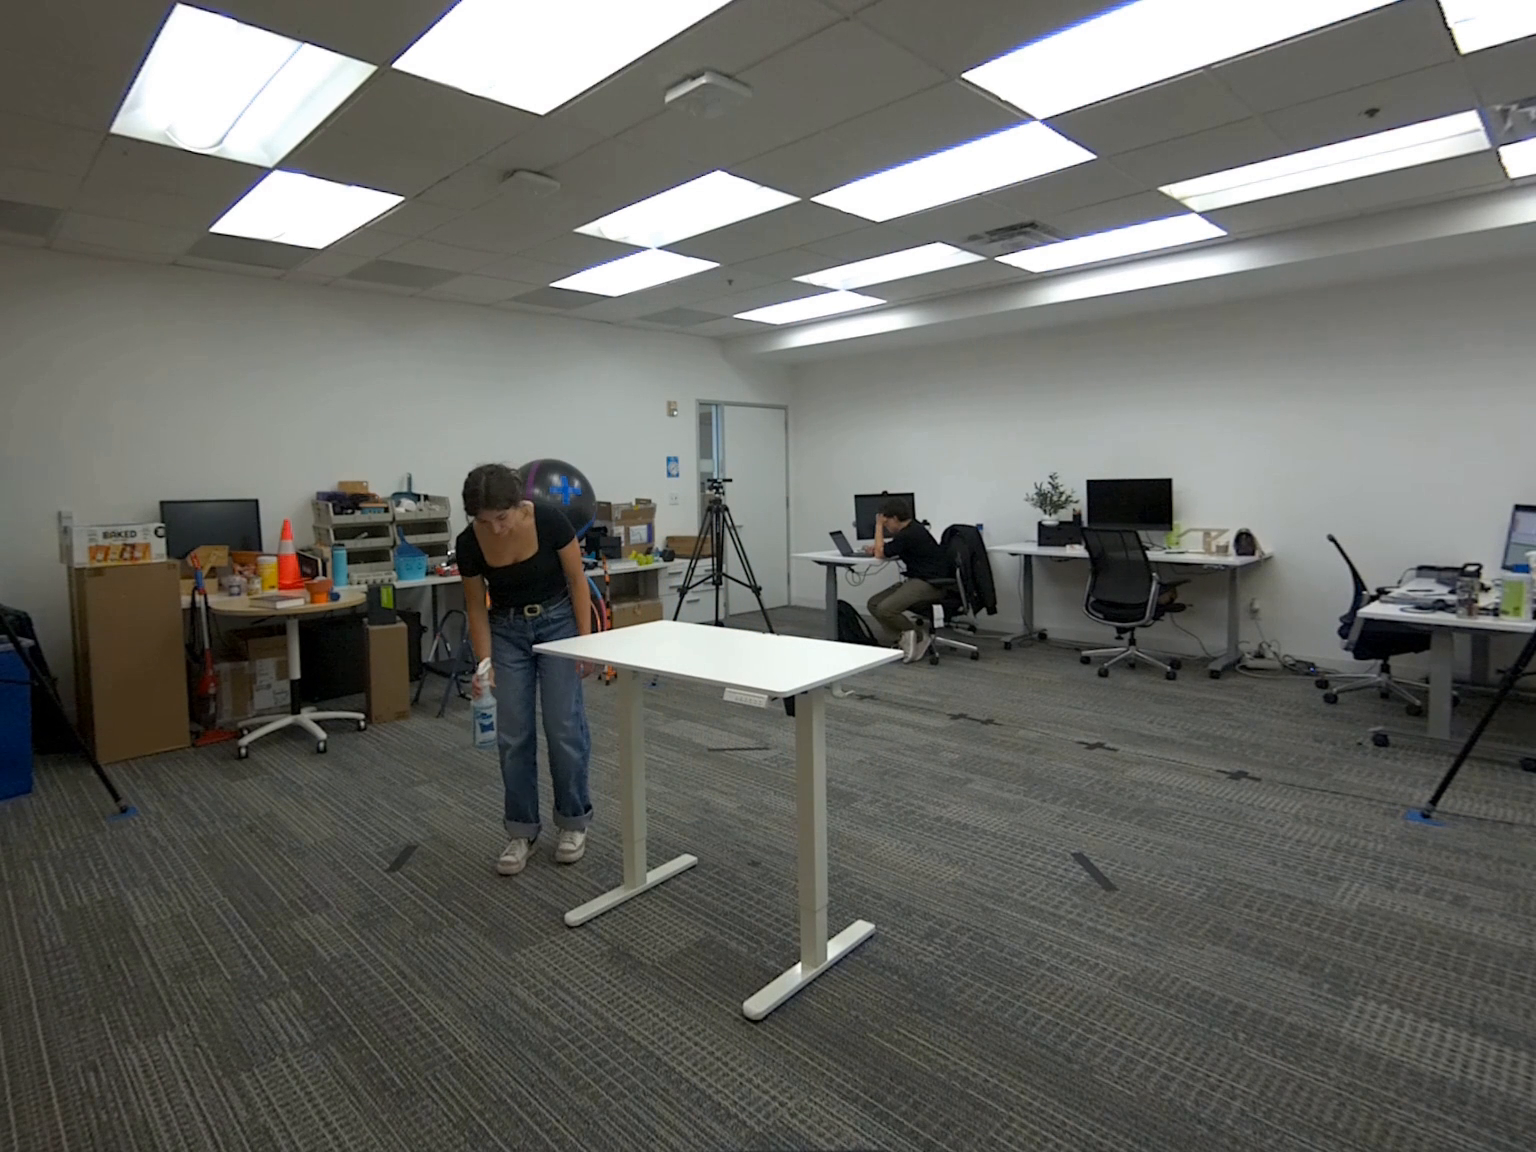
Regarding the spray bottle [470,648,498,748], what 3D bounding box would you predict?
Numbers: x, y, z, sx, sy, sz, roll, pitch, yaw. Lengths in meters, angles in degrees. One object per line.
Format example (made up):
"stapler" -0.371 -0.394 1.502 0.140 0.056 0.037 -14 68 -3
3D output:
"spray bottle" -0.974 0.437 2.927 0.089 0.295 0.088 7 9 28
